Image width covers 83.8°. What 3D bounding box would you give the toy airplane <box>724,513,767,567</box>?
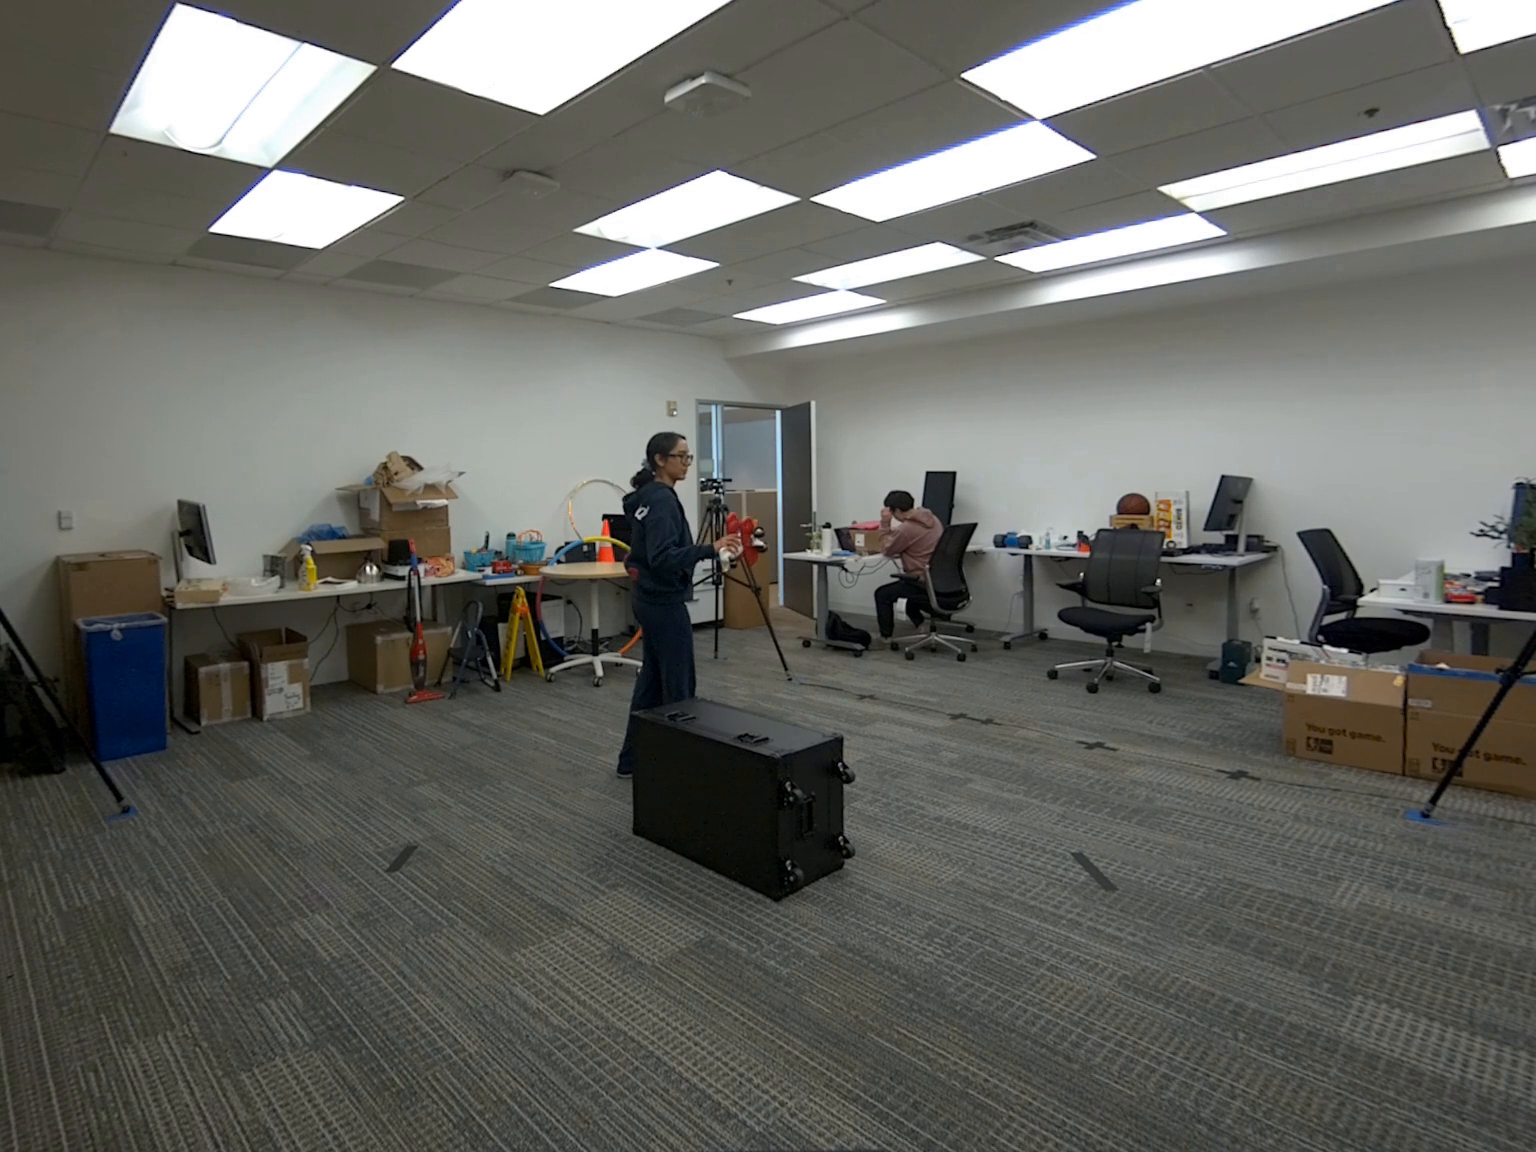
[{"bbox_3d":[-0.134,-0.145,3.766,0.253,0.248,0.162,-8,28,-43],"label":"toy airplane"}]
